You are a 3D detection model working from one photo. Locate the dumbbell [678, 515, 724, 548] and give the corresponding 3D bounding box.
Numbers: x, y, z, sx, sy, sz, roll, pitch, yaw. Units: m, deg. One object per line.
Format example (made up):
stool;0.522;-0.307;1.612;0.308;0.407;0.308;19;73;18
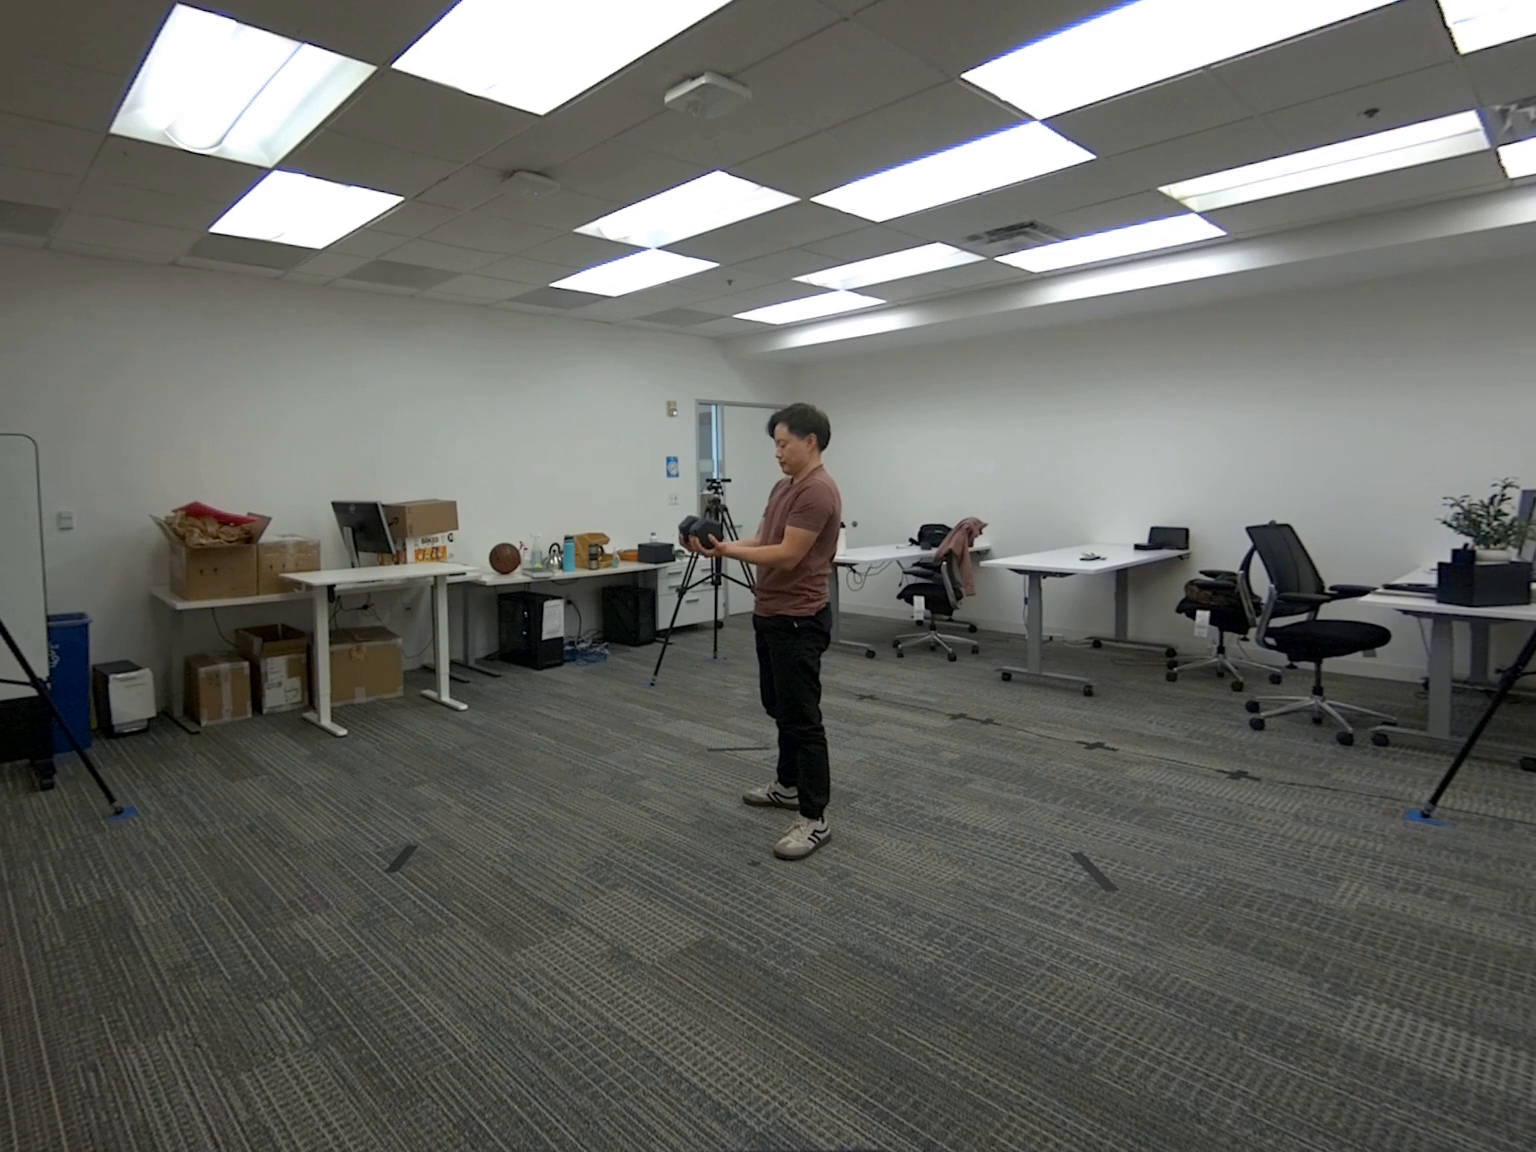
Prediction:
dumbbell;-0.258;-0.174;3.294;0.121;0.108;0.299;12;3;-18
